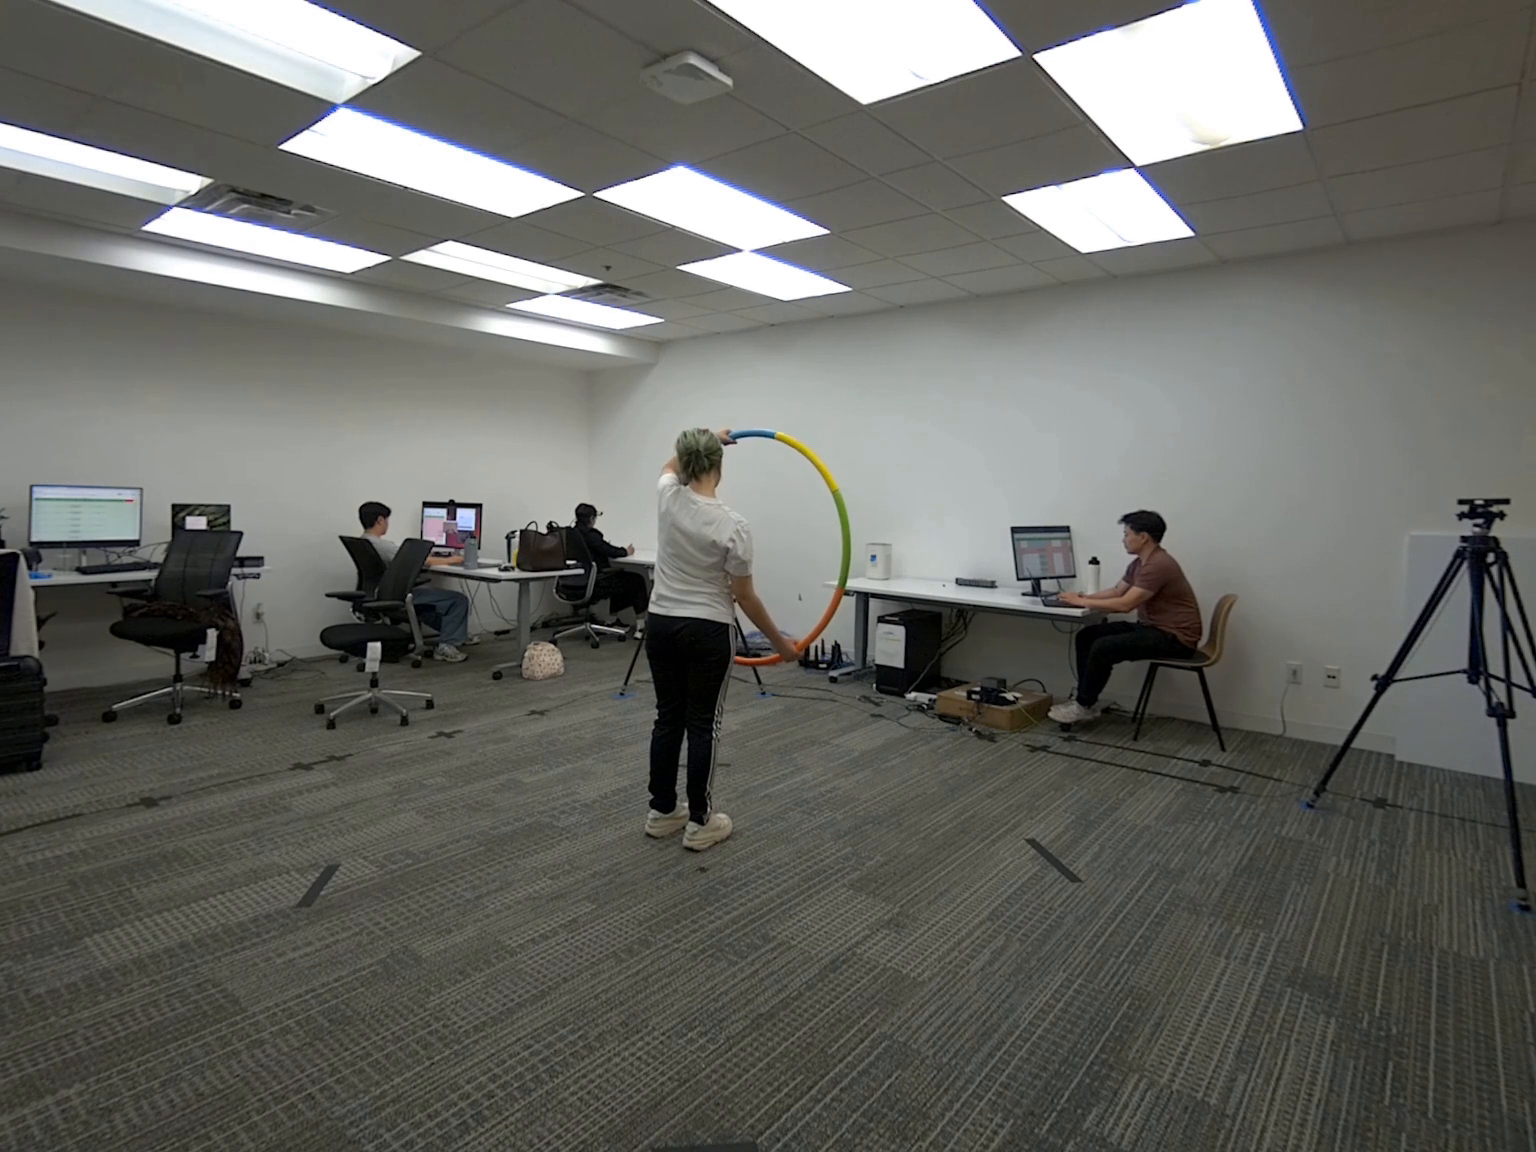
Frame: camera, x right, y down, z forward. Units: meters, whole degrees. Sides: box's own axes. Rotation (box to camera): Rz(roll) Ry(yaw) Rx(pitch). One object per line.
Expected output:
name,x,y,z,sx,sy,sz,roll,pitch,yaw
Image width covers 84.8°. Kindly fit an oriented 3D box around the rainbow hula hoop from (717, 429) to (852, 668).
rainbow hula hoop,-0.101,-0.121,3.555,1.011,0.977,0.034,4,2,37
